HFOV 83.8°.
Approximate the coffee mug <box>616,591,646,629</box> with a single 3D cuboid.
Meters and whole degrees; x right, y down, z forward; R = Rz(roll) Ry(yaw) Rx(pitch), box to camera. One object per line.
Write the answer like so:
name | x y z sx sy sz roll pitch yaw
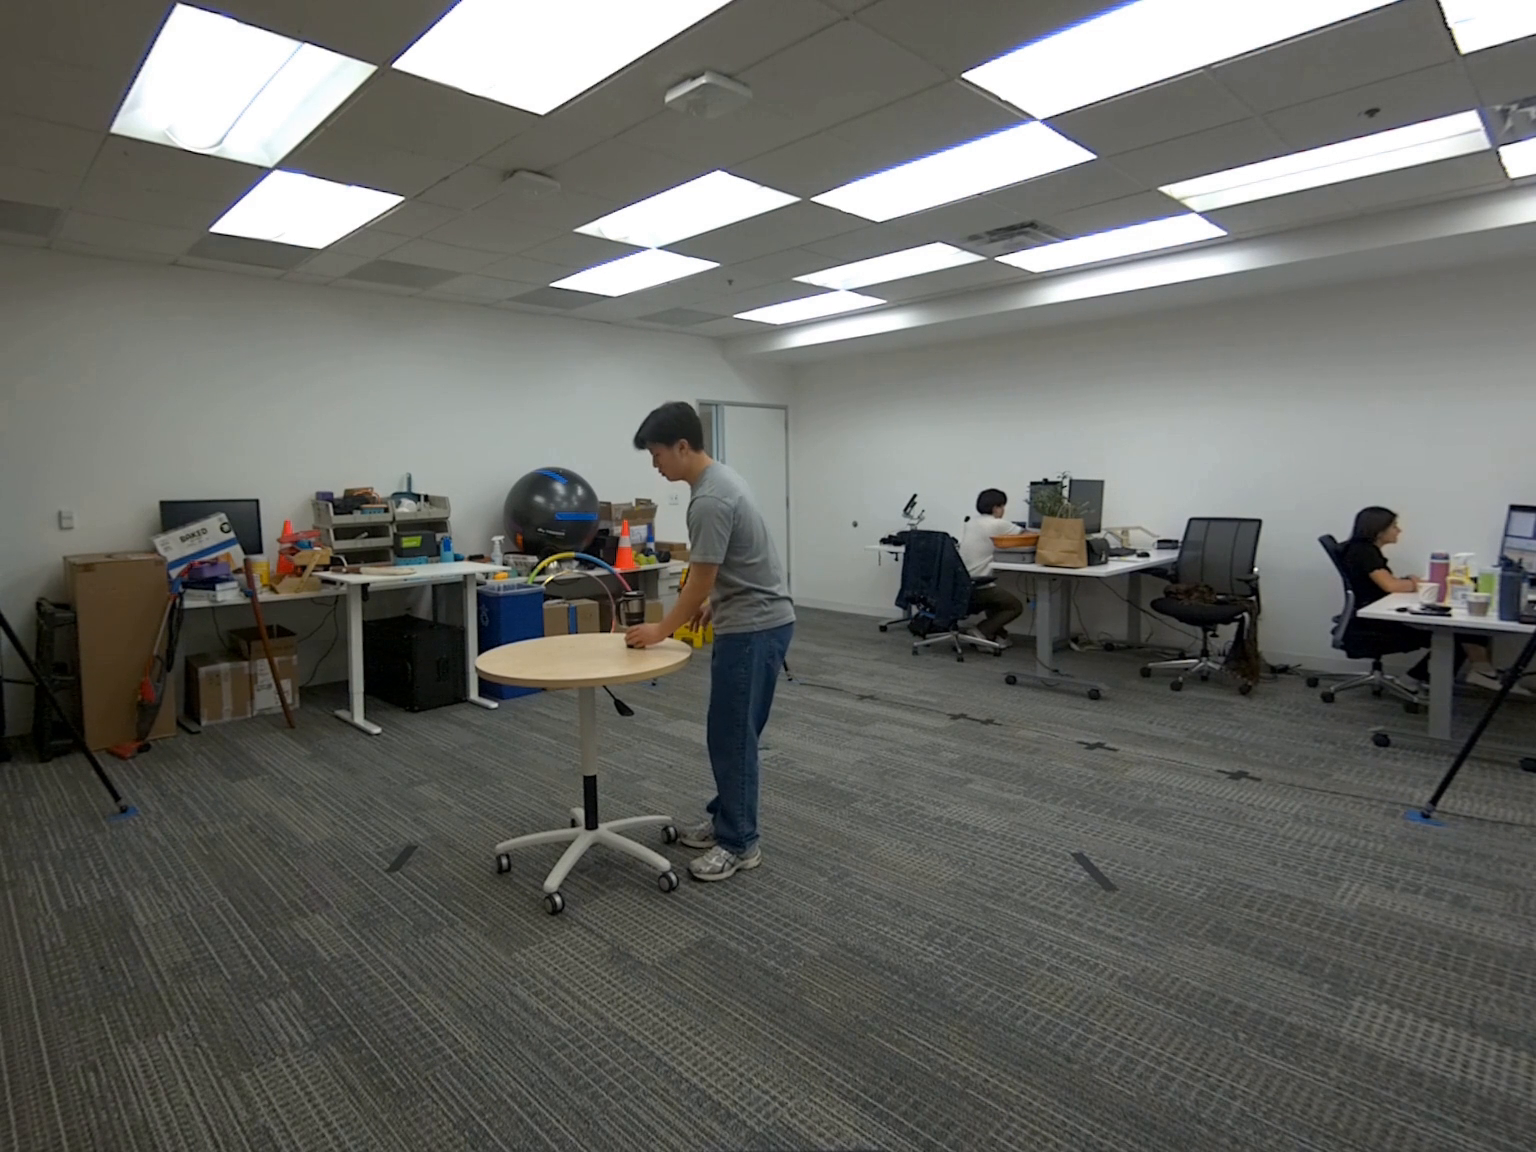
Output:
coffee mug | -0.511 0.160 3.163 0.119 0.201 0.090 -1 8 -24
